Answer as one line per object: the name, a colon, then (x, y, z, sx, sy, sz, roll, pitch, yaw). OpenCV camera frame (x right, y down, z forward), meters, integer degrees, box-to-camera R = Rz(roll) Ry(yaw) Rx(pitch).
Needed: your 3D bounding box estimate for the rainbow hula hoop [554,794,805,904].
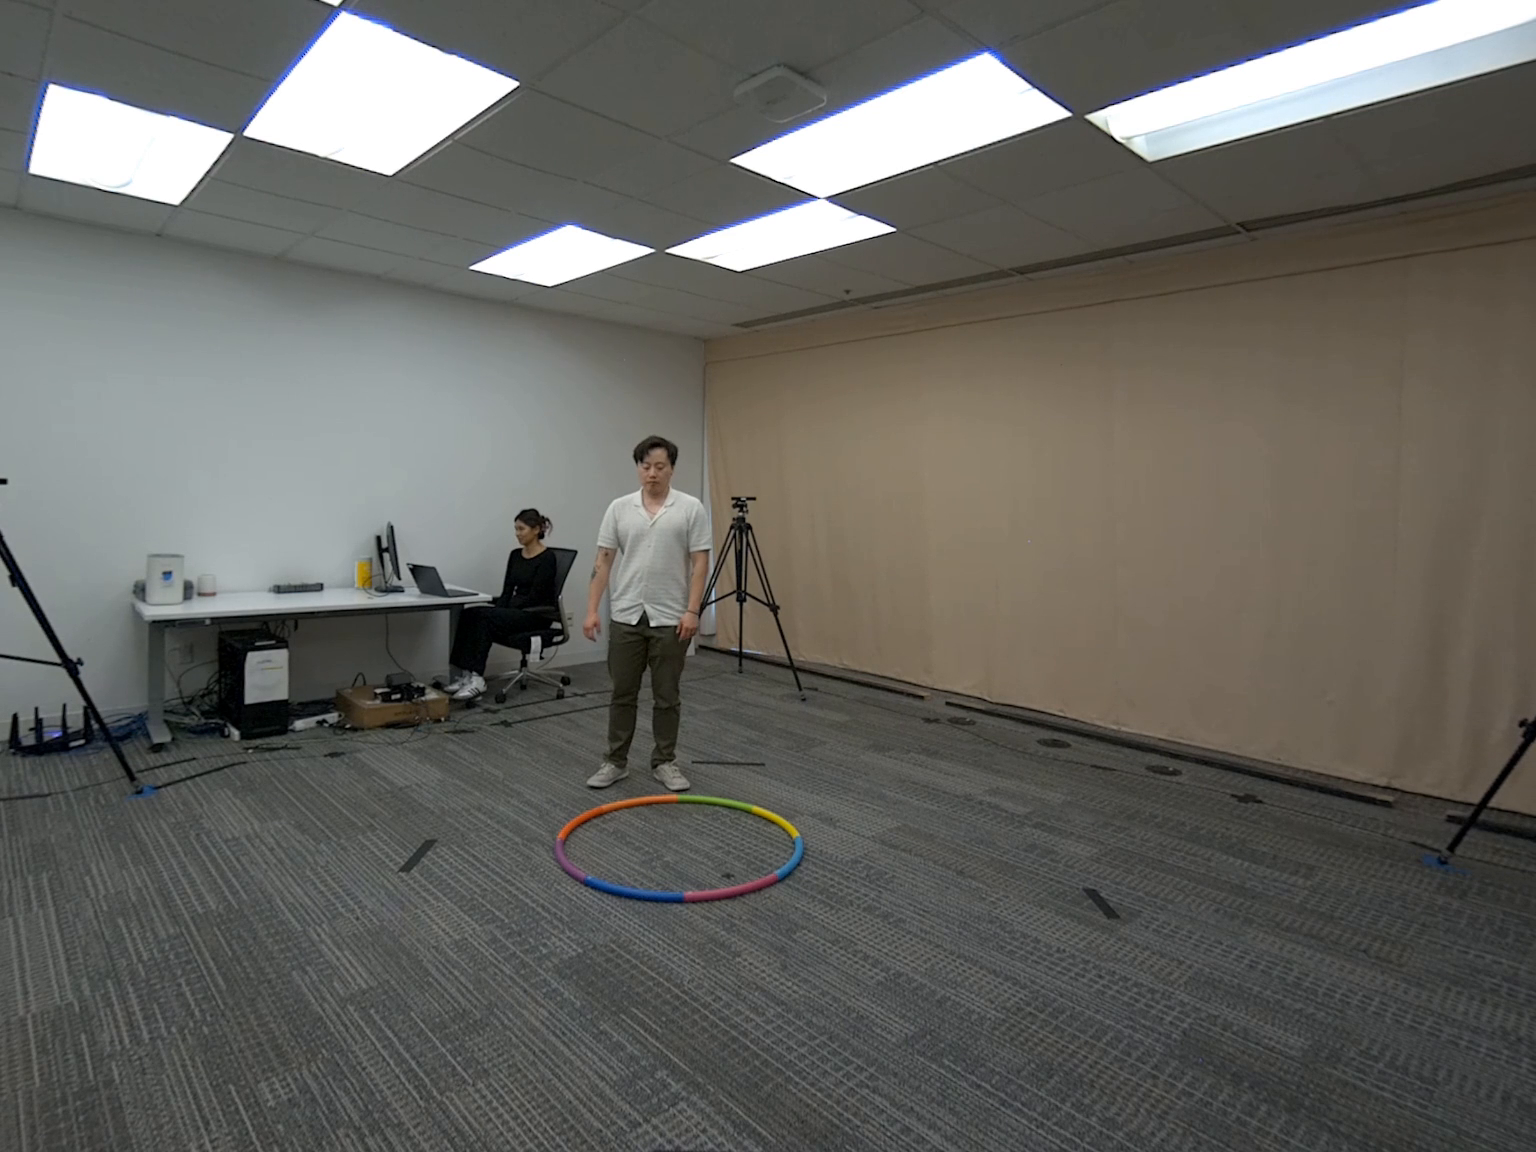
rainbow hula hoop: (-0.359, 1.050, 3.369, 0.978, 0.035, 0.982, 1, 5, -1)
